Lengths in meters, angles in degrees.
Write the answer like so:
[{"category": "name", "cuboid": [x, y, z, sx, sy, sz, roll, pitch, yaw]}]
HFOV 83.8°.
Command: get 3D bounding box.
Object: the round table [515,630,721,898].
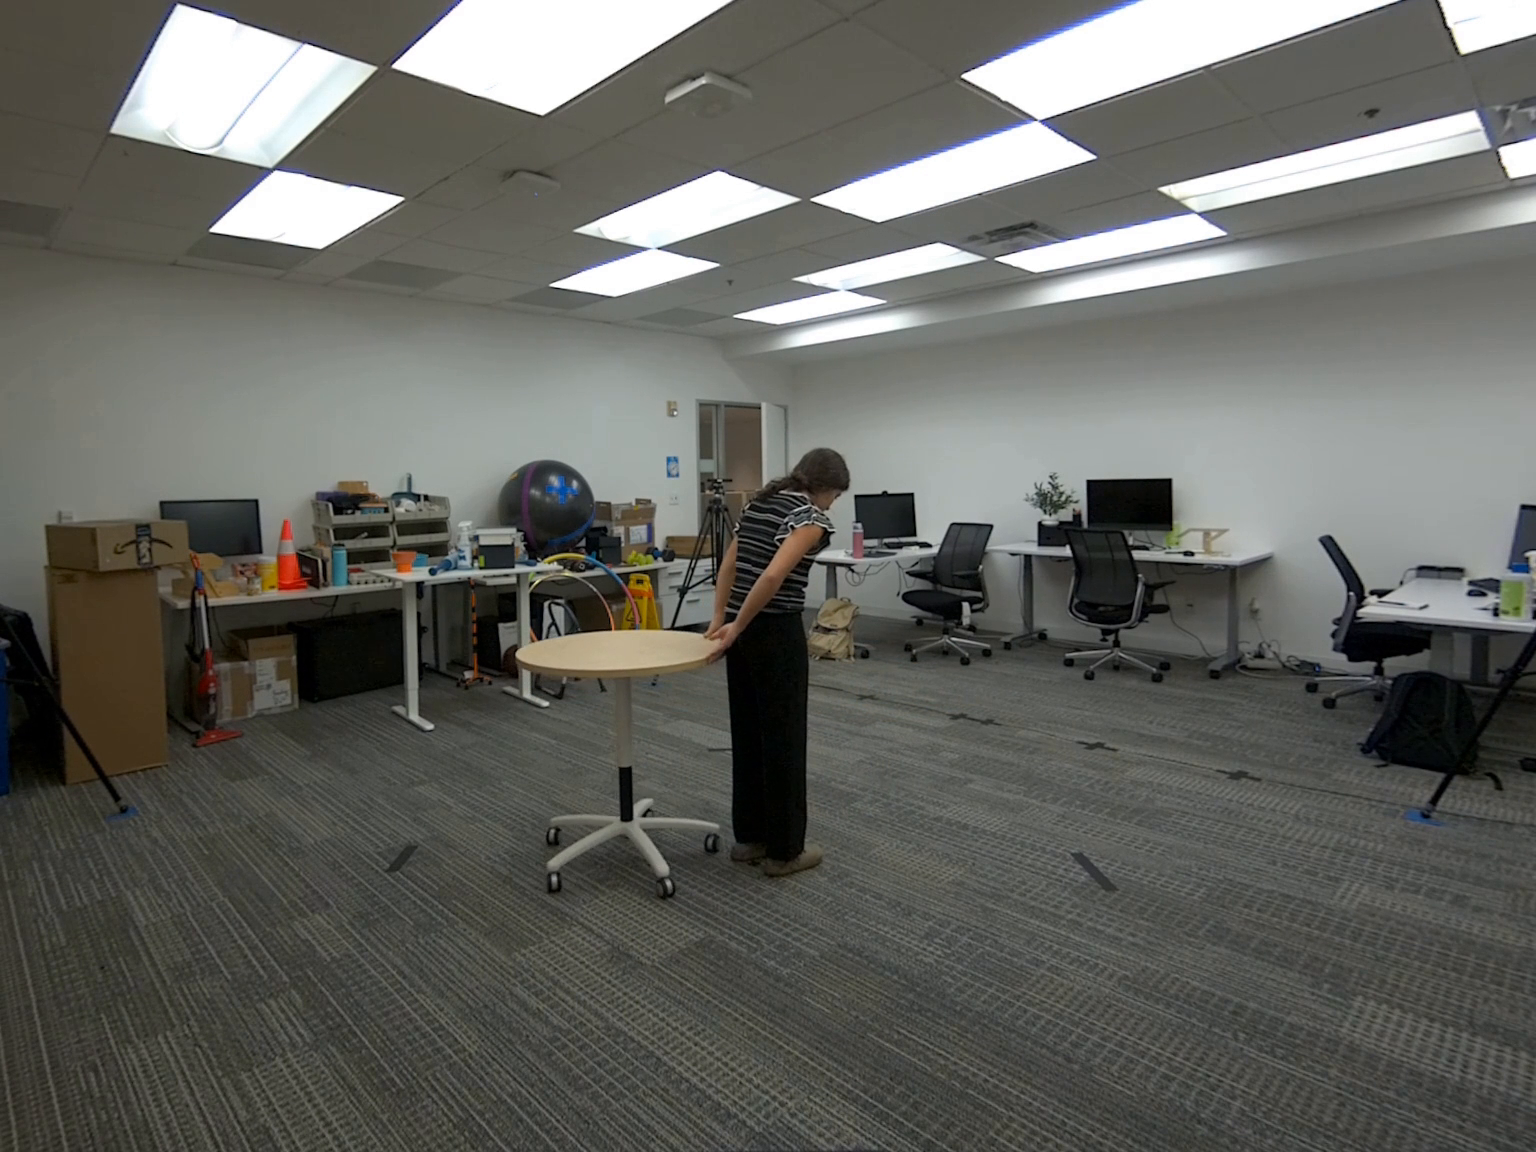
[{"category": "round table", "cuboid": [-0.514, 0.651, 3.151, 0.784, 0.783, 0.789, -2, 5, -2]}]
